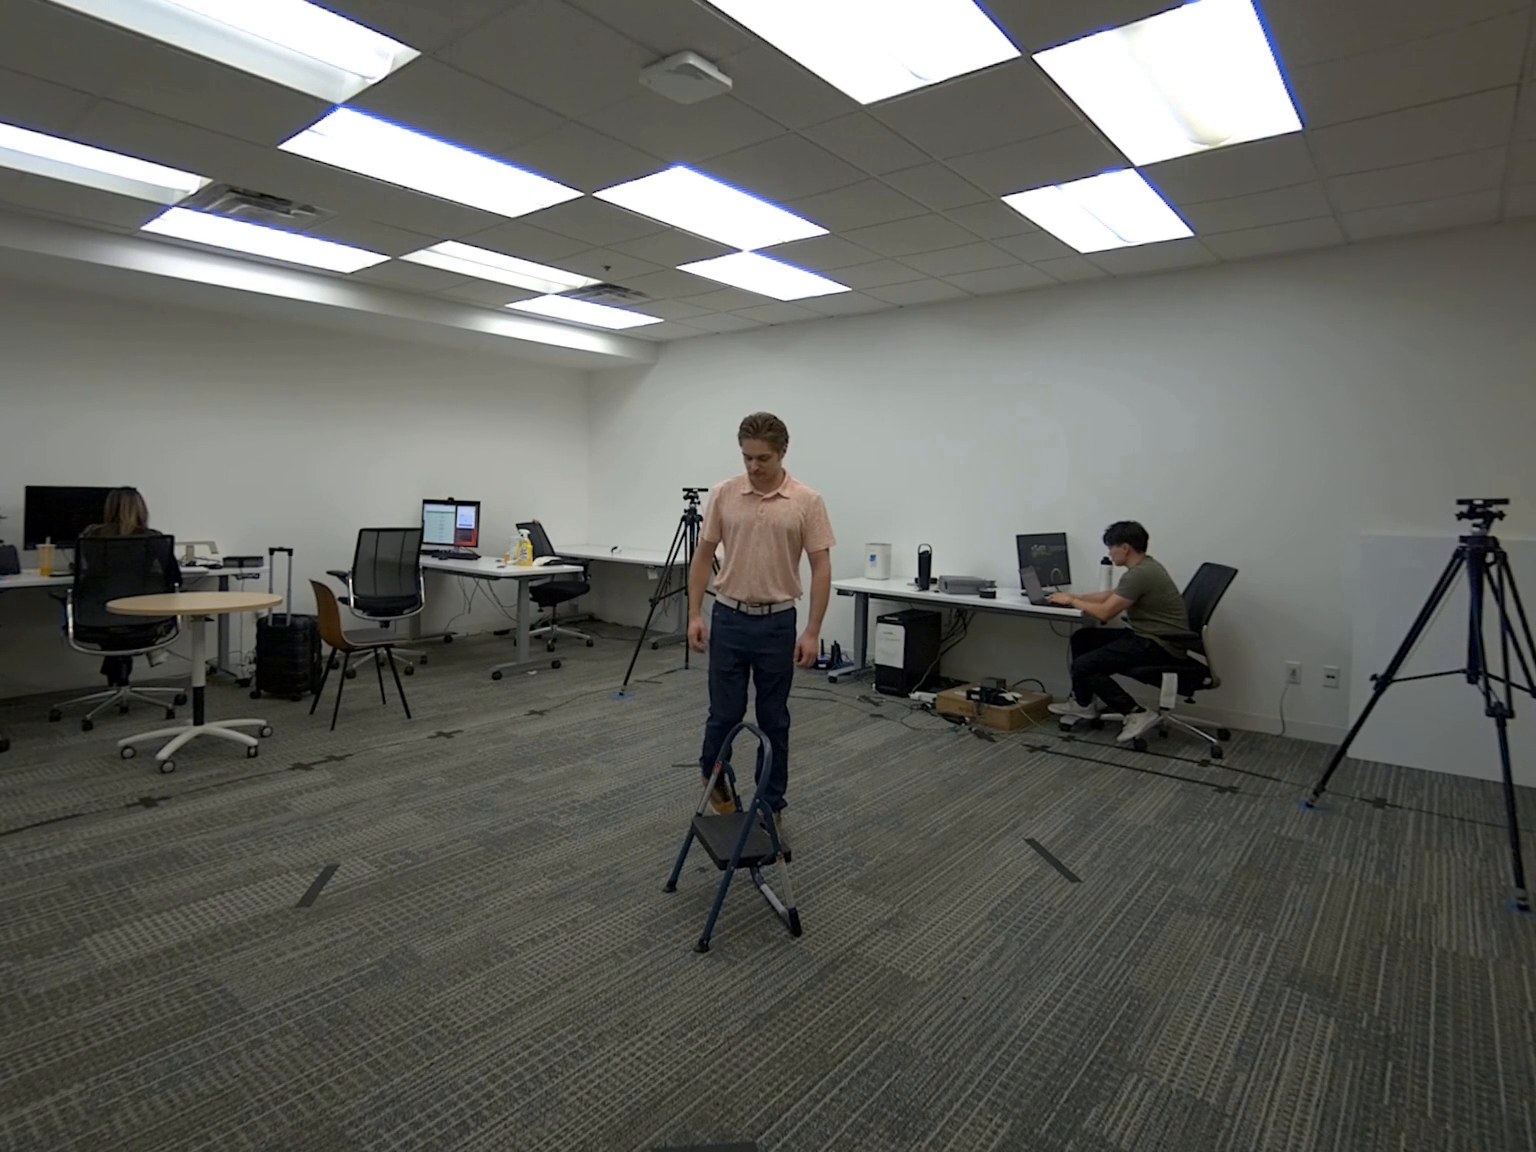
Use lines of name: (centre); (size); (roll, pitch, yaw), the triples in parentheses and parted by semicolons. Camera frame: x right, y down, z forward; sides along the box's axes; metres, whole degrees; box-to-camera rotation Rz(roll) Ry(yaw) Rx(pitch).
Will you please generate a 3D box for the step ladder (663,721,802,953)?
step ladder: (-0.126, 0.800, 2.779); (0.342, 0.604, 0.441); (0, 4, -20)
